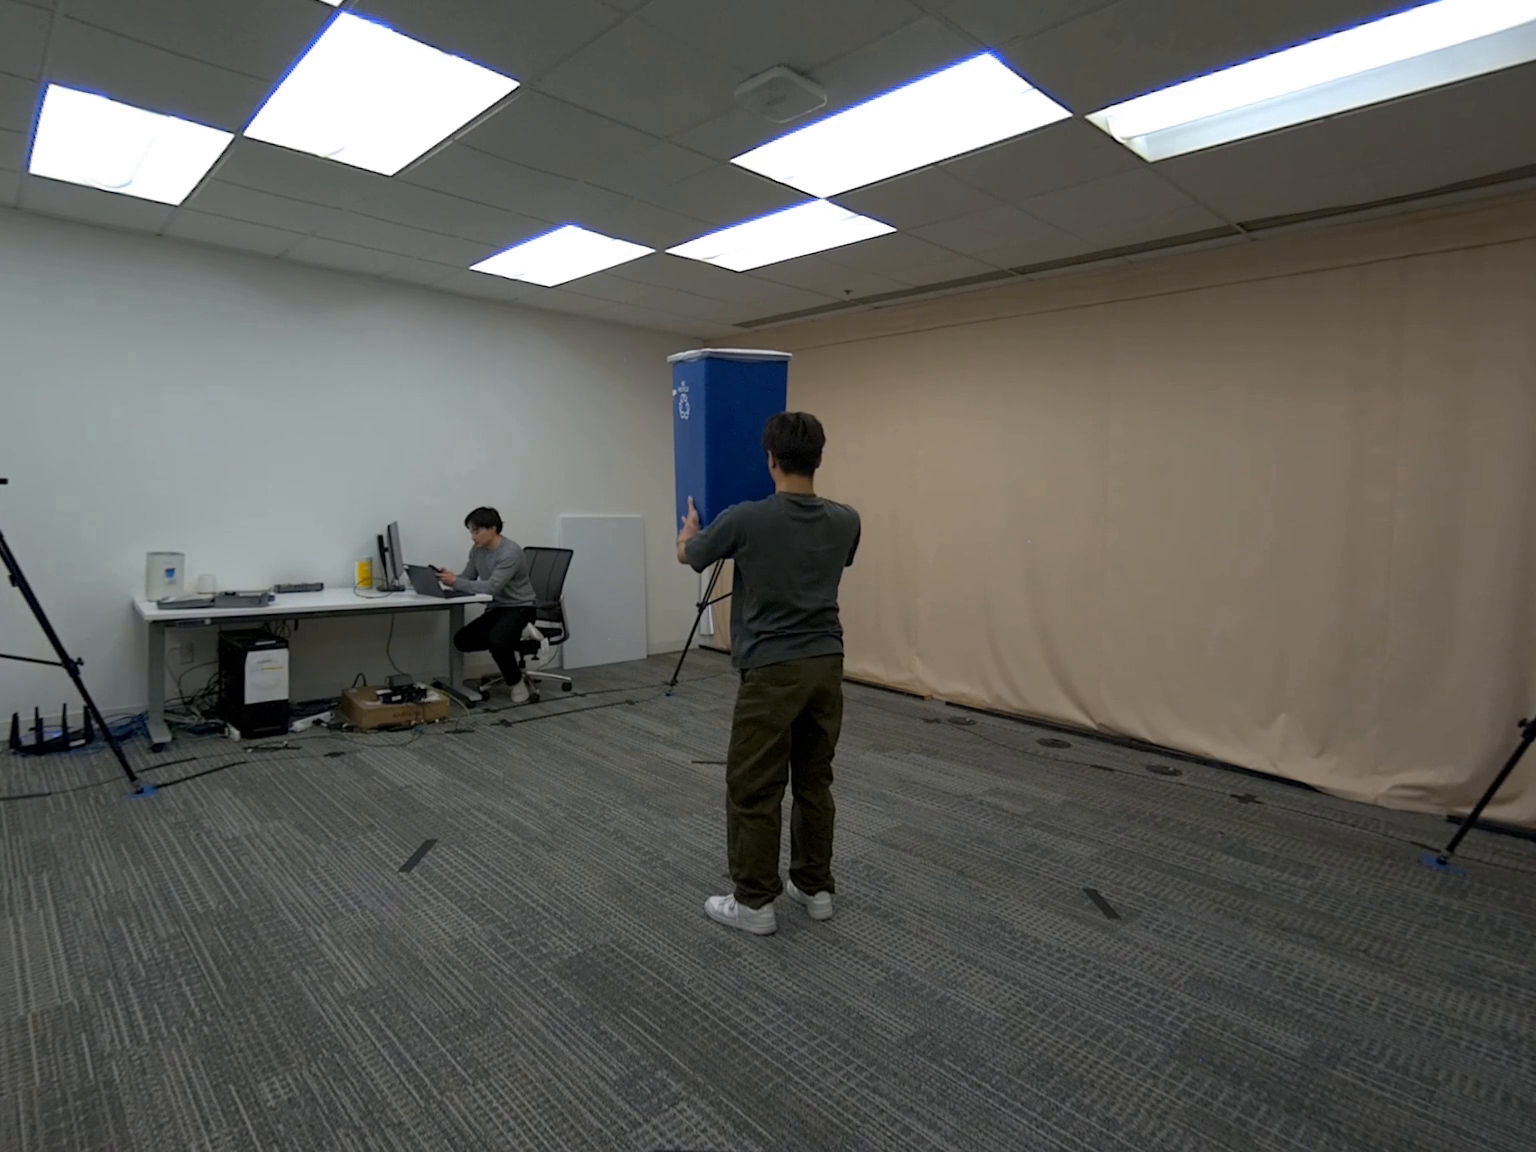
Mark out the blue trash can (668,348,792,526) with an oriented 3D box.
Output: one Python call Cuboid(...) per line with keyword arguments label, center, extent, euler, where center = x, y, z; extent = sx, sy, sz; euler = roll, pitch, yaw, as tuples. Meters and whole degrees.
Cuboid(label="blue trash can", center=(-0.164, -0.477, 3.183), extent=(0.367, 0.709, 0.387), euler=(-3, 9, -28))
